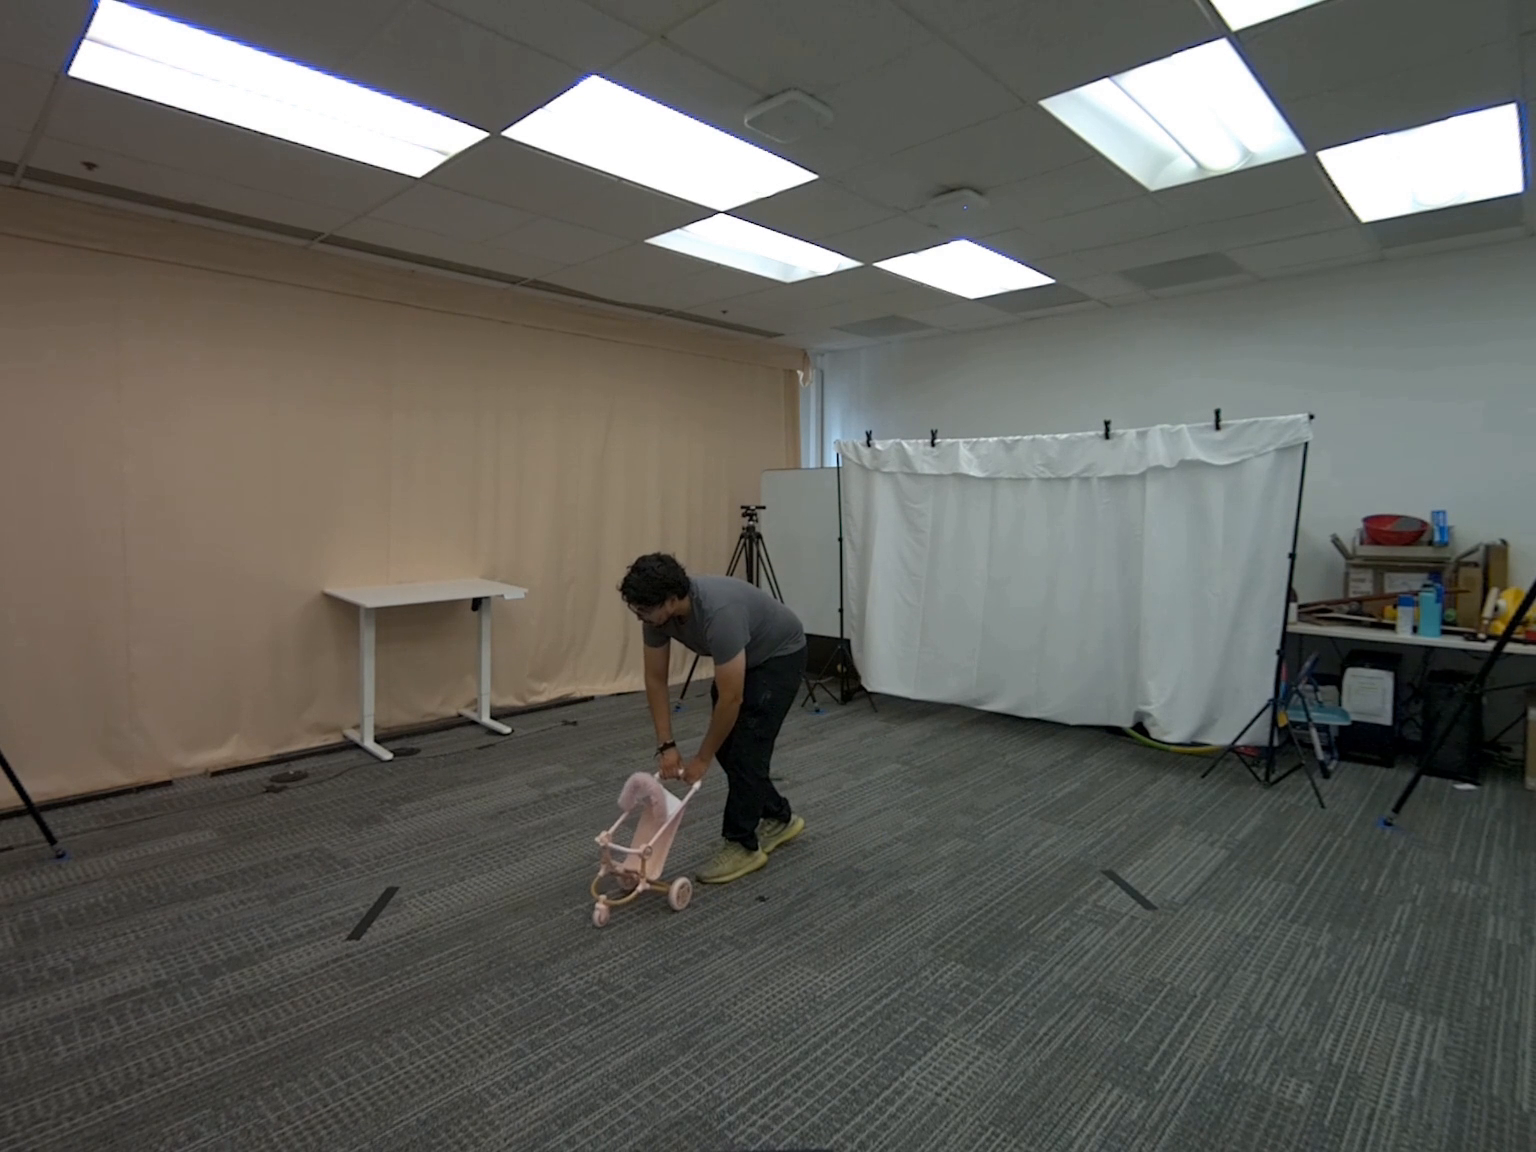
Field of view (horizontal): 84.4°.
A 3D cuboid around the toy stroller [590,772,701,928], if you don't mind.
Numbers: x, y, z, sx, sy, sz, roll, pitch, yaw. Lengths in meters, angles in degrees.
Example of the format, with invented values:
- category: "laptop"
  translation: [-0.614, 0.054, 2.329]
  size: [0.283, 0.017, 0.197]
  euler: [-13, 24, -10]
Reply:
- category: "toy stroller"
  translation: [-0.440, 0.925, 2.931]
  size: [0.291, 0.537, 0.329]
  euler: [2, -13, 41]
